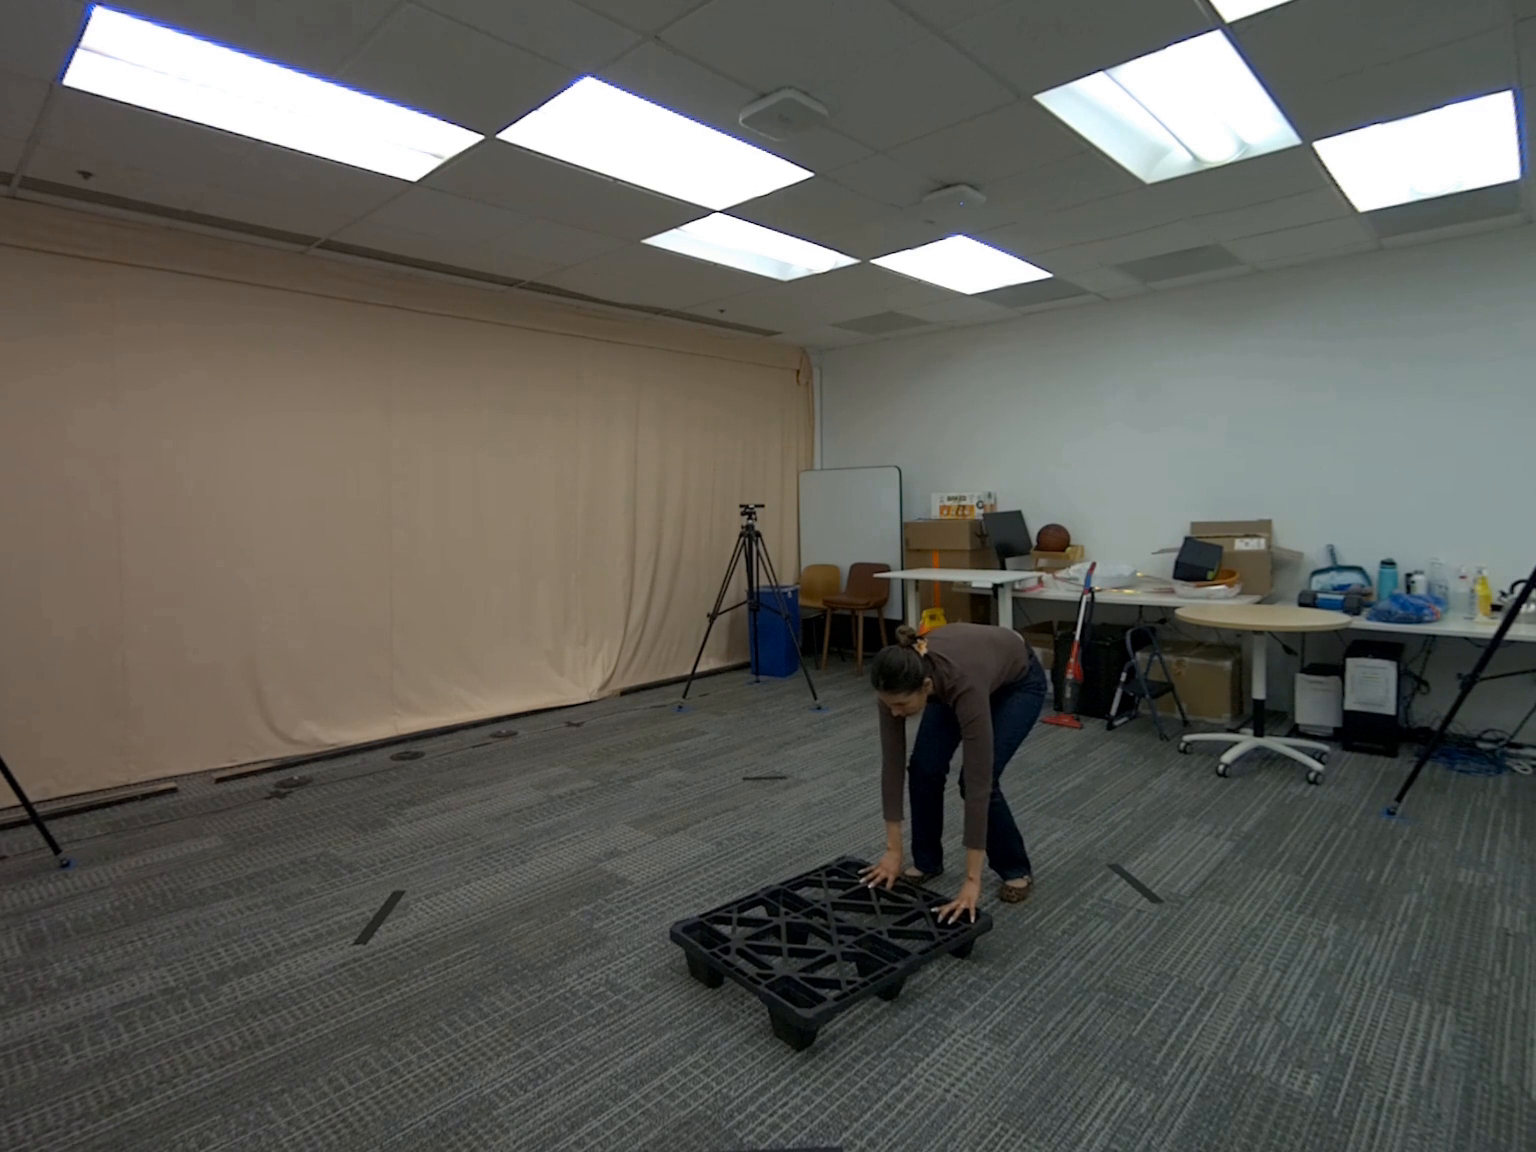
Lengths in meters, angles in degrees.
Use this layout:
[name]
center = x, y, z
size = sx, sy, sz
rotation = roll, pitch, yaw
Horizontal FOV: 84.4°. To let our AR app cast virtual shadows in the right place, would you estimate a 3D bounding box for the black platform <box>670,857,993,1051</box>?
[black platform]
center = 0.198, 1.108, 2.536
size = 0.782, 0.143, 0.625
rotation = -5, 7, -40
